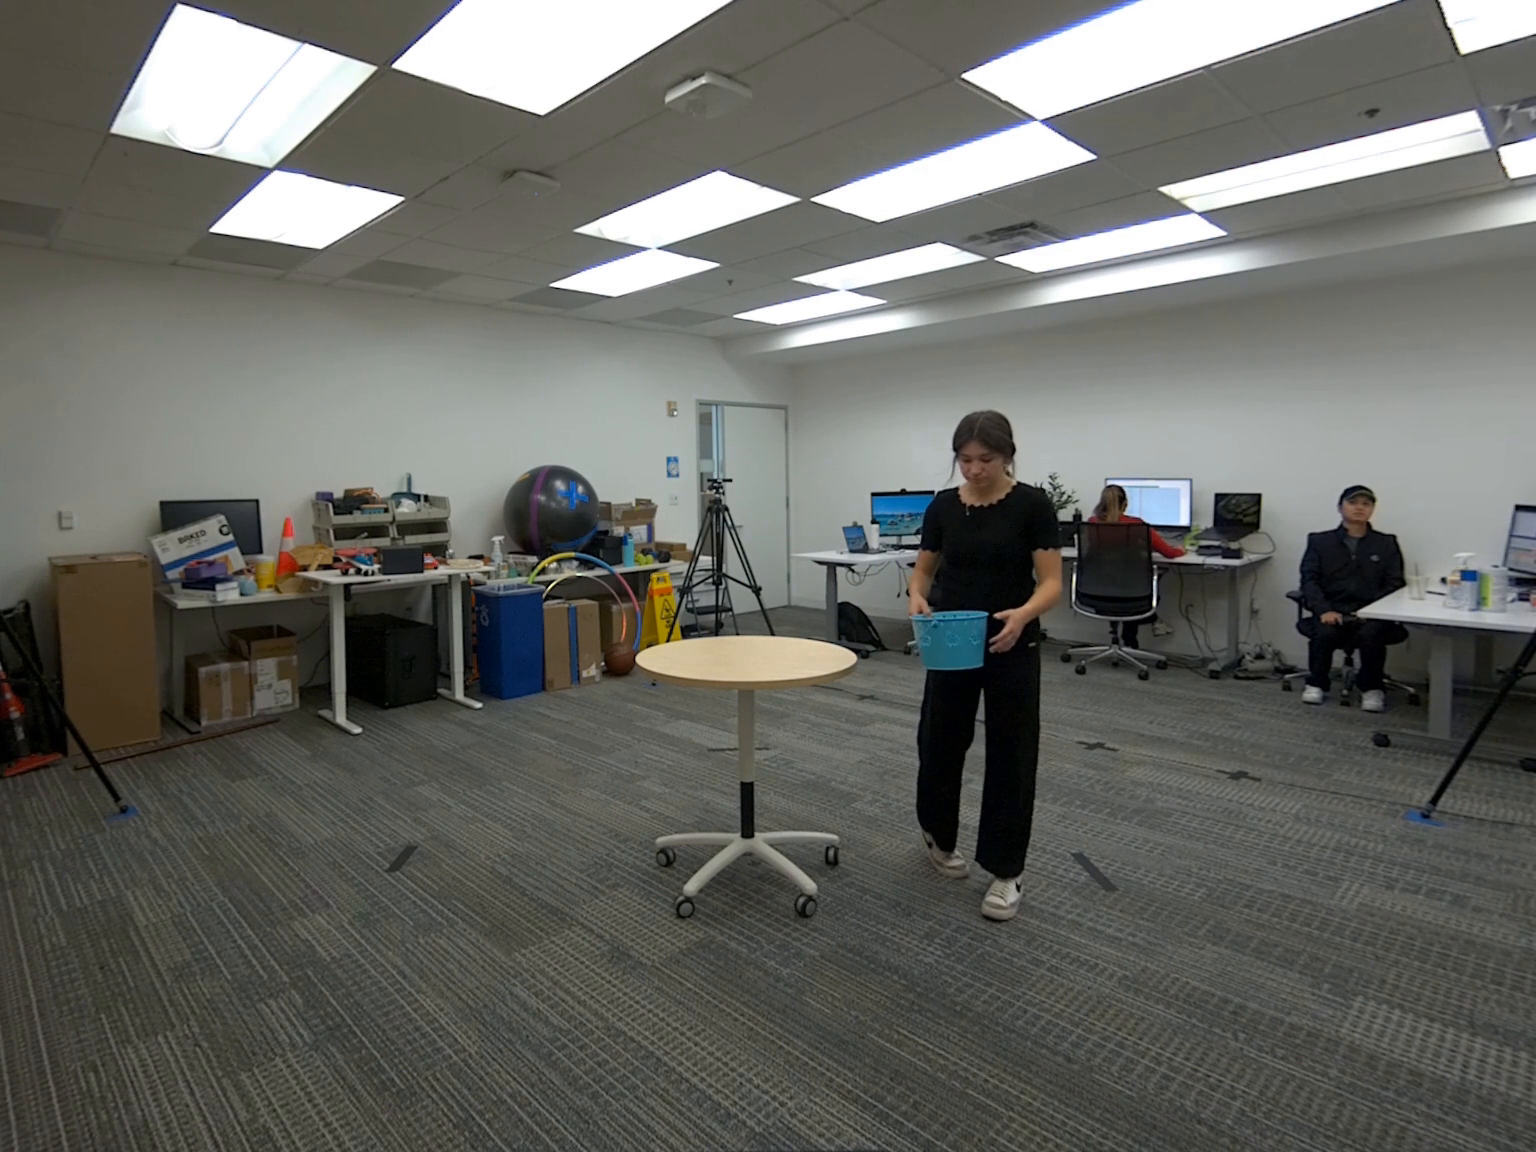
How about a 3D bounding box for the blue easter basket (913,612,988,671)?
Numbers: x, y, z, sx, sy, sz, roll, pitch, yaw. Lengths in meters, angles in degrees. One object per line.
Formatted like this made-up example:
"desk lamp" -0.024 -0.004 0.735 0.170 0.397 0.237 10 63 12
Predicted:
"blue easter basket" 0.560 0.196 2.577 0.243 0.156 0.244 -4 1 -2
